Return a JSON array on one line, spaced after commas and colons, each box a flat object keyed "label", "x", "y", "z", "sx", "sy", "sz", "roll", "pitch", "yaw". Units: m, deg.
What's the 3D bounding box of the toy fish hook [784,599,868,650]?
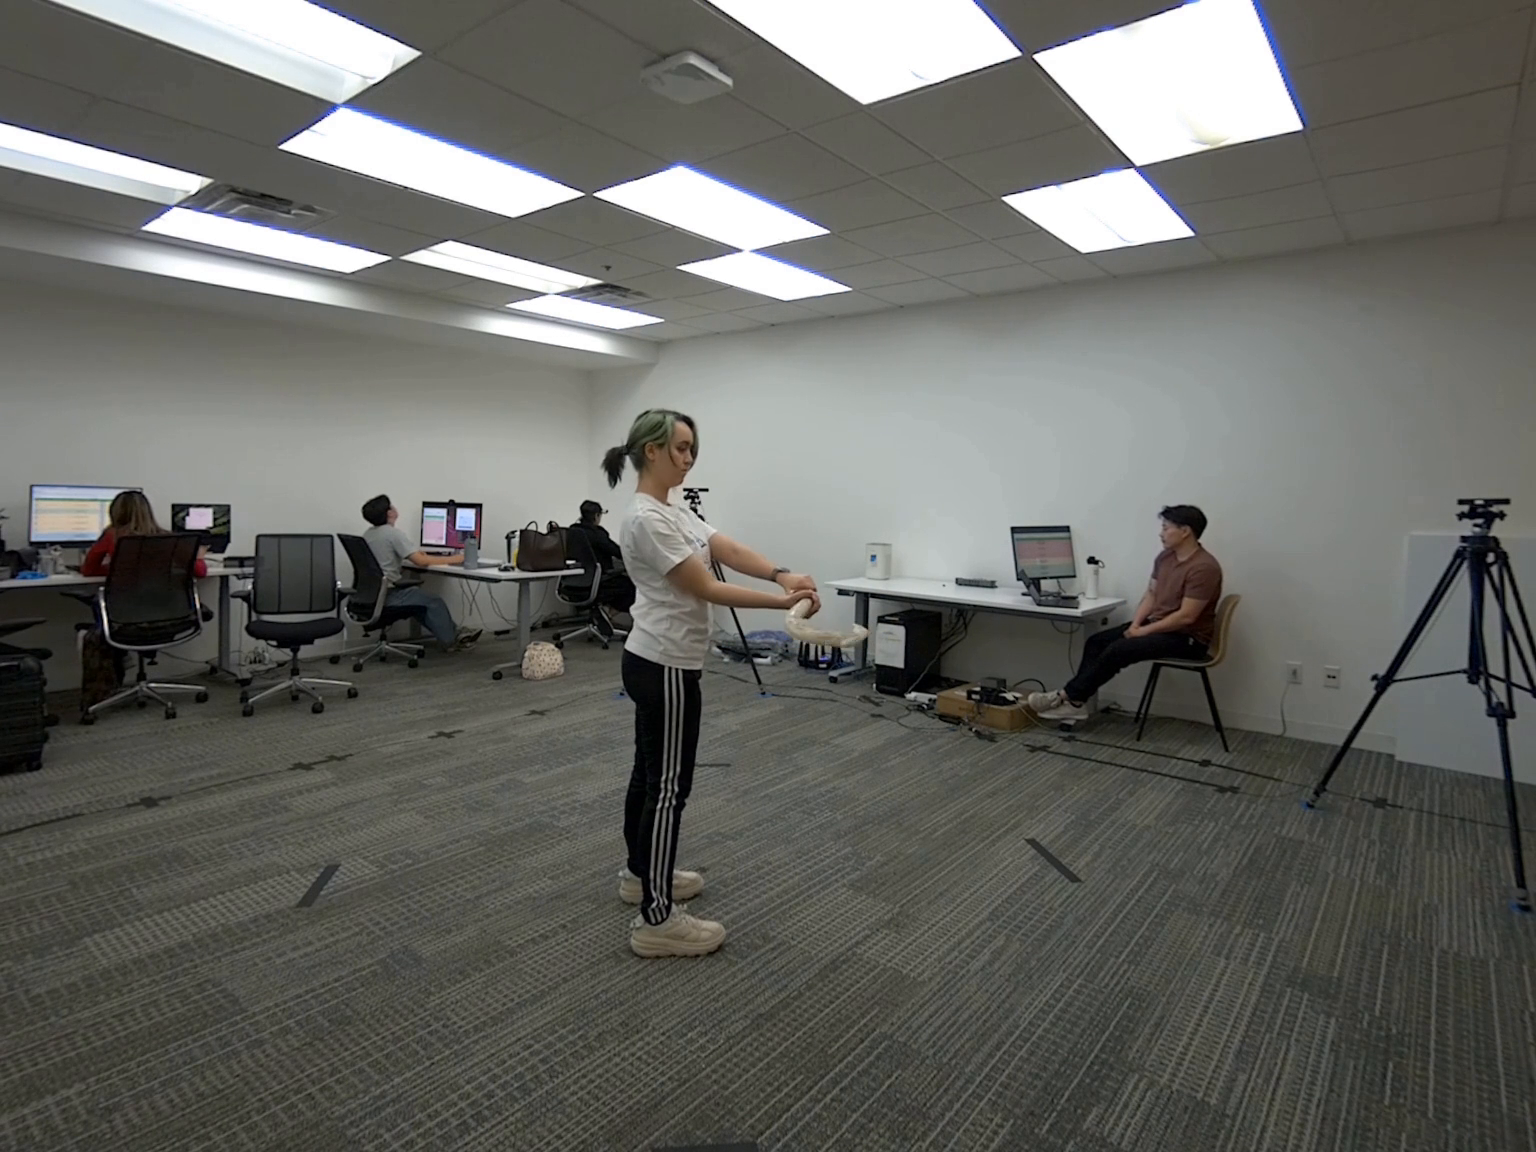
[{"label": "toy fish hook", "x": 0.171, "y": 0.097, "z": 2.371, "sx": 0.225, "sy": 0.048, "sz": 0.511, "roll": 9, "pitch": 15, "yaw": 0}]
